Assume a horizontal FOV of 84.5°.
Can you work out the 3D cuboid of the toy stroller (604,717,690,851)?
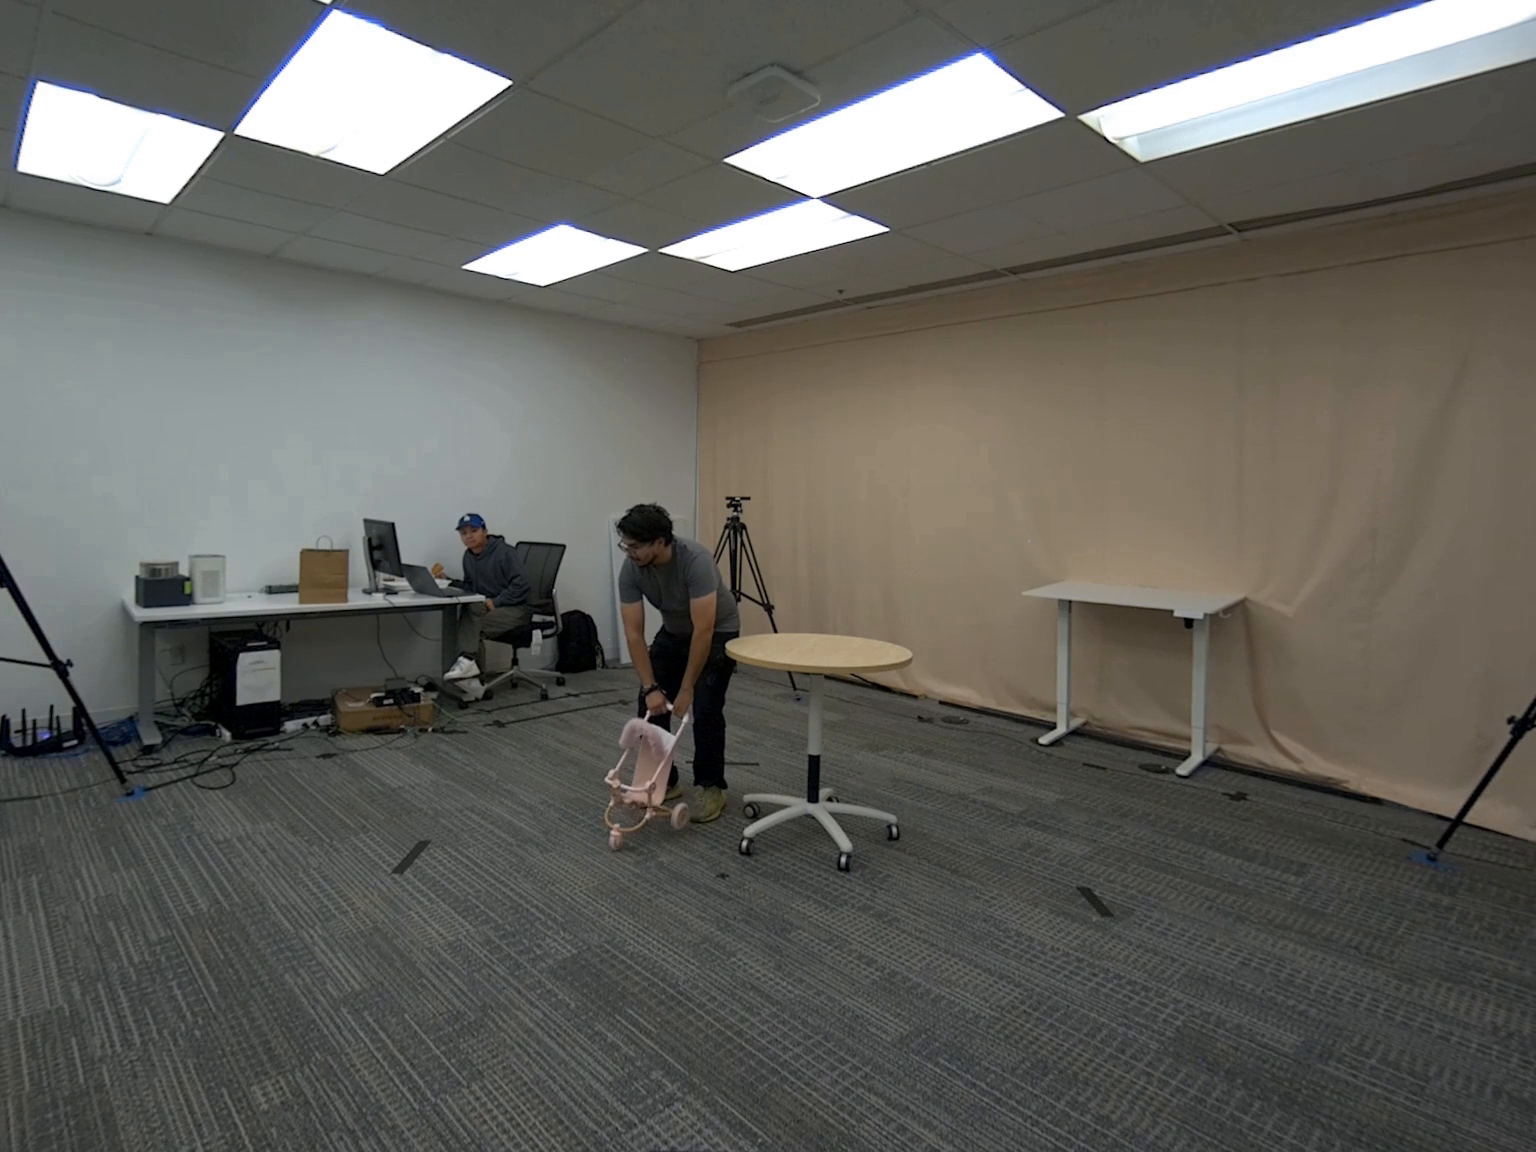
[{"bbox_3d":[-0.524,0.816,3.416,0.289,0.534,0.333,8,2,36],"label":"toy stroller"}]
